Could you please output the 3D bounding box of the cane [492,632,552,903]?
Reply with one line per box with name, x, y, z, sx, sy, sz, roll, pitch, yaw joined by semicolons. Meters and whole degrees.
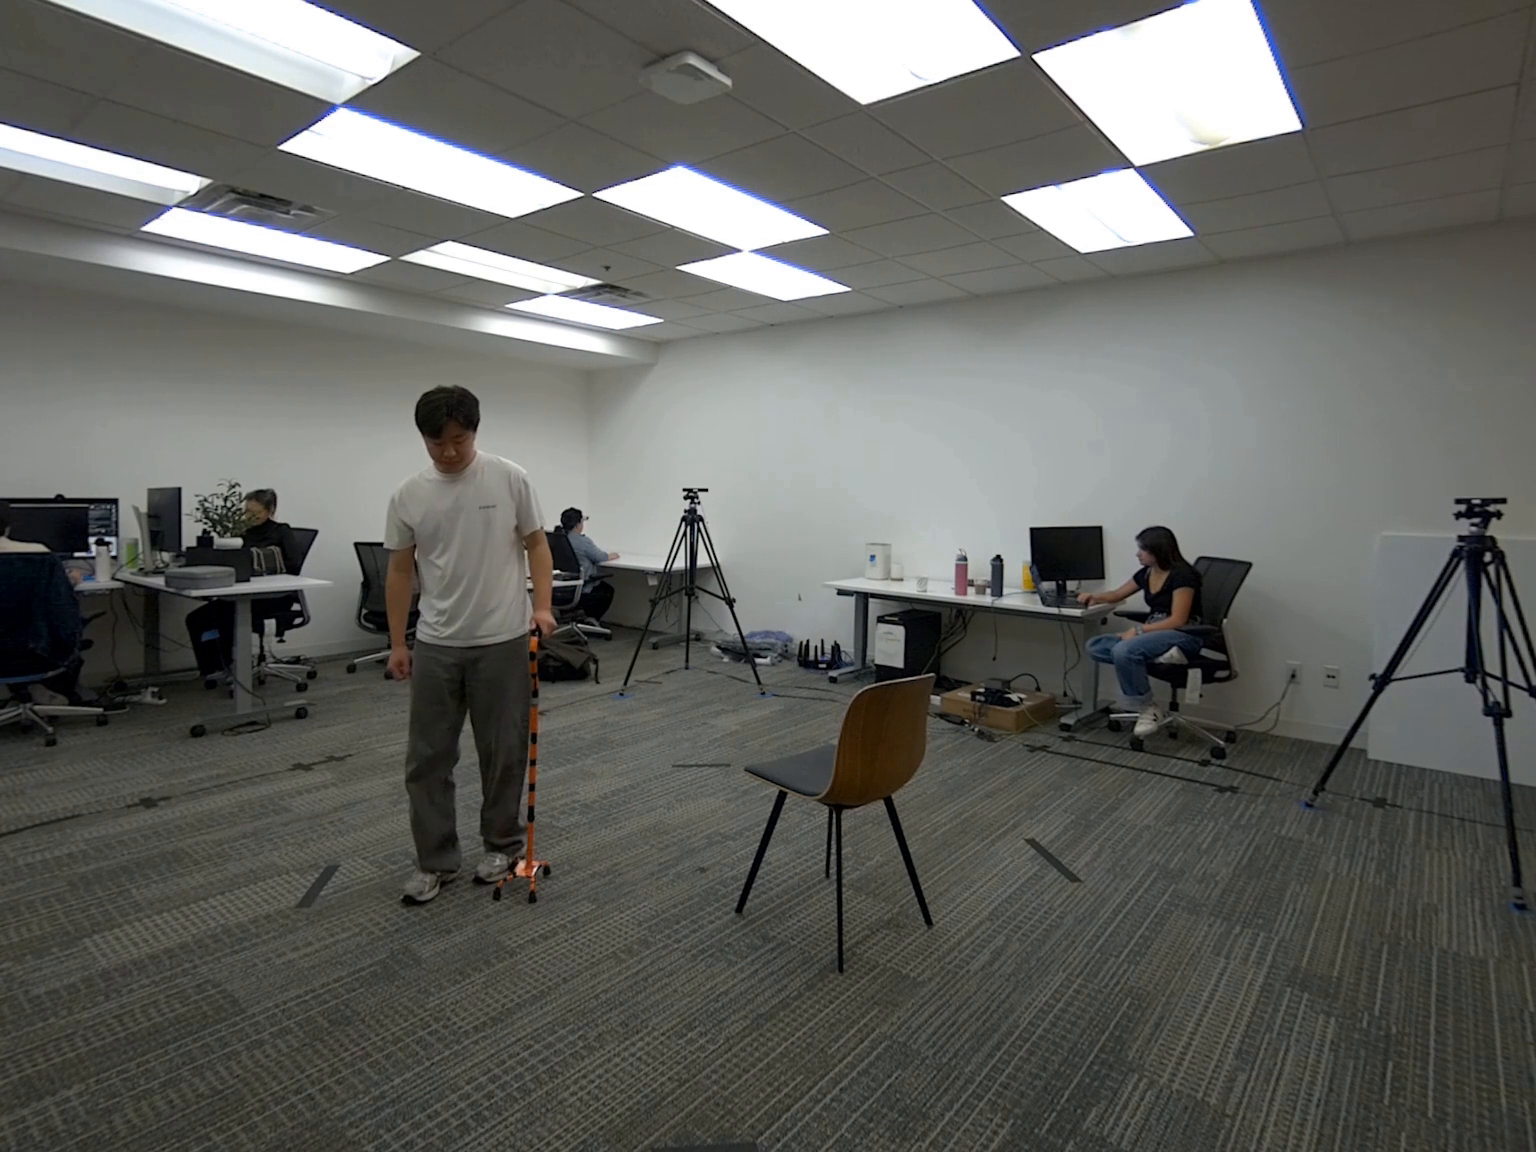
cane;-0.810;0.620;2.884;0.153;0.902;0.205;6;7;9
